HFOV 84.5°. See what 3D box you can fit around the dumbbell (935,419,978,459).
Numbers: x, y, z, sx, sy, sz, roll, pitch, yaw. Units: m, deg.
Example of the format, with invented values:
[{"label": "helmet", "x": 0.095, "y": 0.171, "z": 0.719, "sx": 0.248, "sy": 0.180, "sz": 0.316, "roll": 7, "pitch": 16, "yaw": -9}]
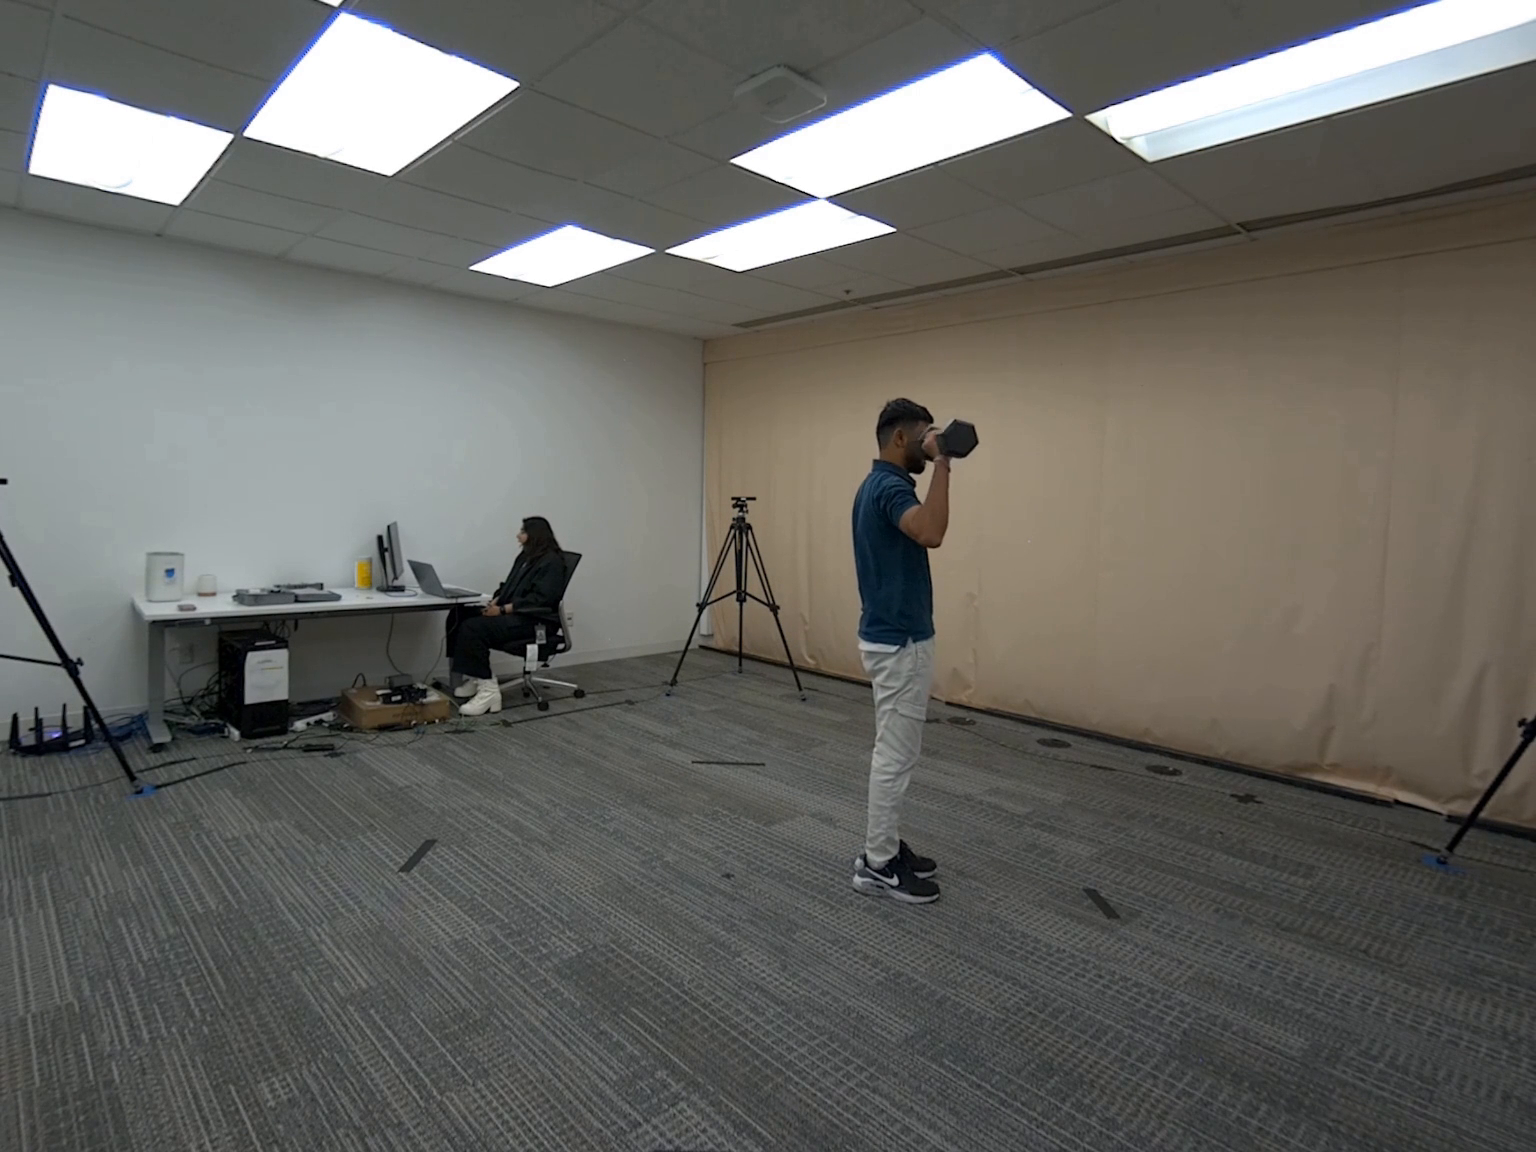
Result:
[{"label": "dumbbell", "x": 0.556, "y": -0.422, "z": 2.701, "sx": 0.122, "sy": 0.108, "sz": 0.295, "roll": 11, "pitch": 3, "yaw": -5}]
